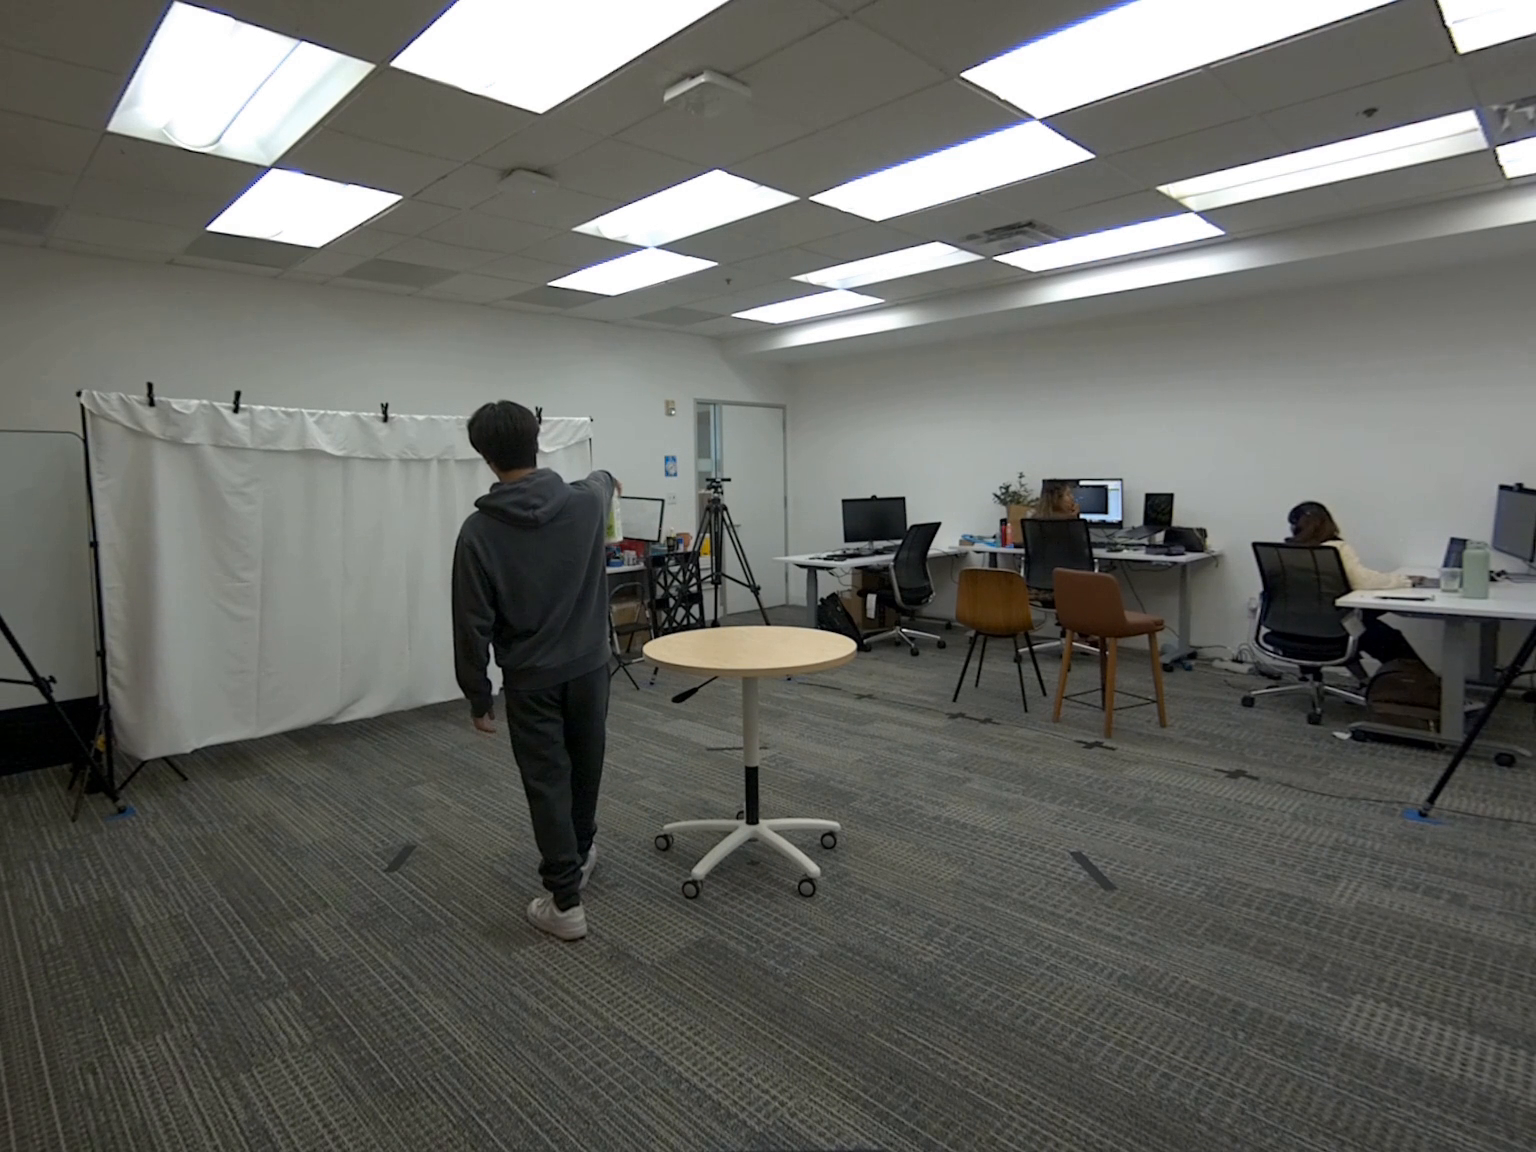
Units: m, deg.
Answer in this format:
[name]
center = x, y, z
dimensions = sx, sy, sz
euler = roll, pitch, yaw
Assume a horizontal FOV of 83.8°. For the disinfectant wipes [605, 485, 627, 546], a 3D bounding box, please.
[disinfectant wipes]
center = -0.622, -0.238, 3.330
dimensions = 0.118, 0.216, 0.119
euler = -2, 9, -1
